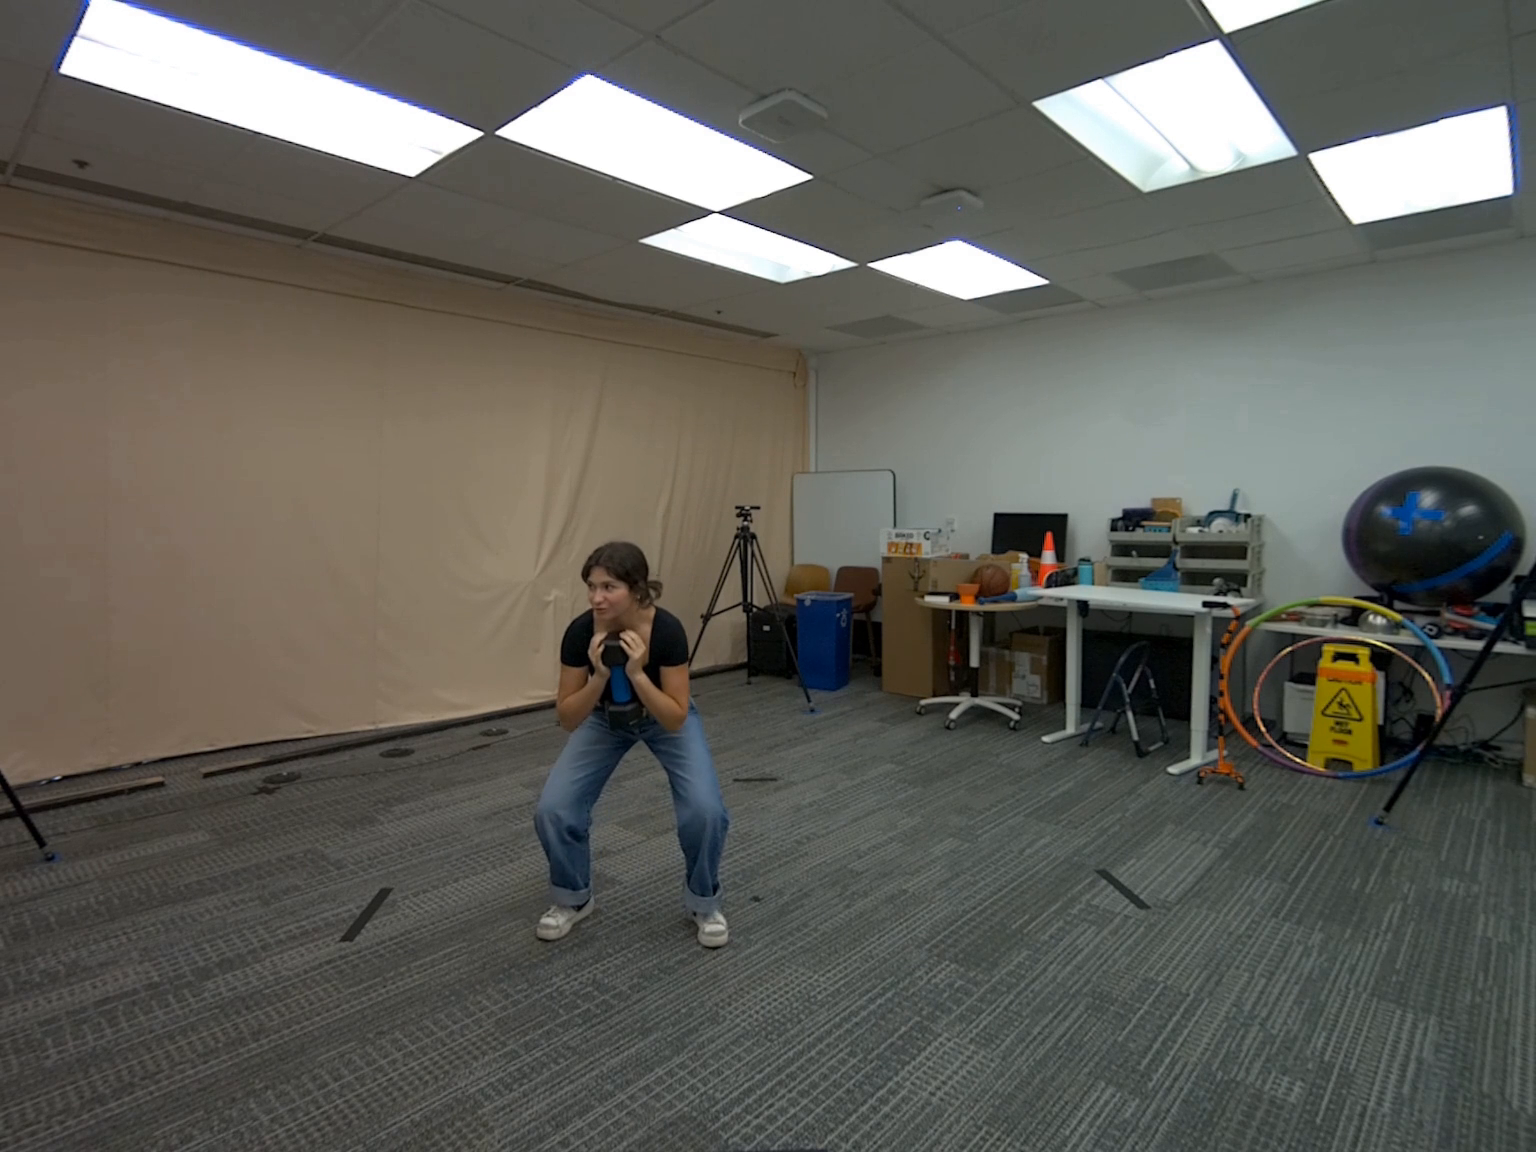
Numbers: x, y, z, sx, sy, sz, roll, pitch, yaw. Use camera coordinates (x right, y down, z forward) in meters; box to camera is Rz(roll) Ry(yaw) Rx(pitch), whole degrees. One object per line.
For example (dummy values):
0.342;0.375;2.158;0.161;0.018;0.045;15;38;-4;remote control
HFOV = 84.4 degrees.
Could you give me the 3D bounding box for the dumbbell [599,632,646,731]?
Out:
-0.452;0.323;2.602;0.112;0.290;0.120;13;22;33;dumbbell
